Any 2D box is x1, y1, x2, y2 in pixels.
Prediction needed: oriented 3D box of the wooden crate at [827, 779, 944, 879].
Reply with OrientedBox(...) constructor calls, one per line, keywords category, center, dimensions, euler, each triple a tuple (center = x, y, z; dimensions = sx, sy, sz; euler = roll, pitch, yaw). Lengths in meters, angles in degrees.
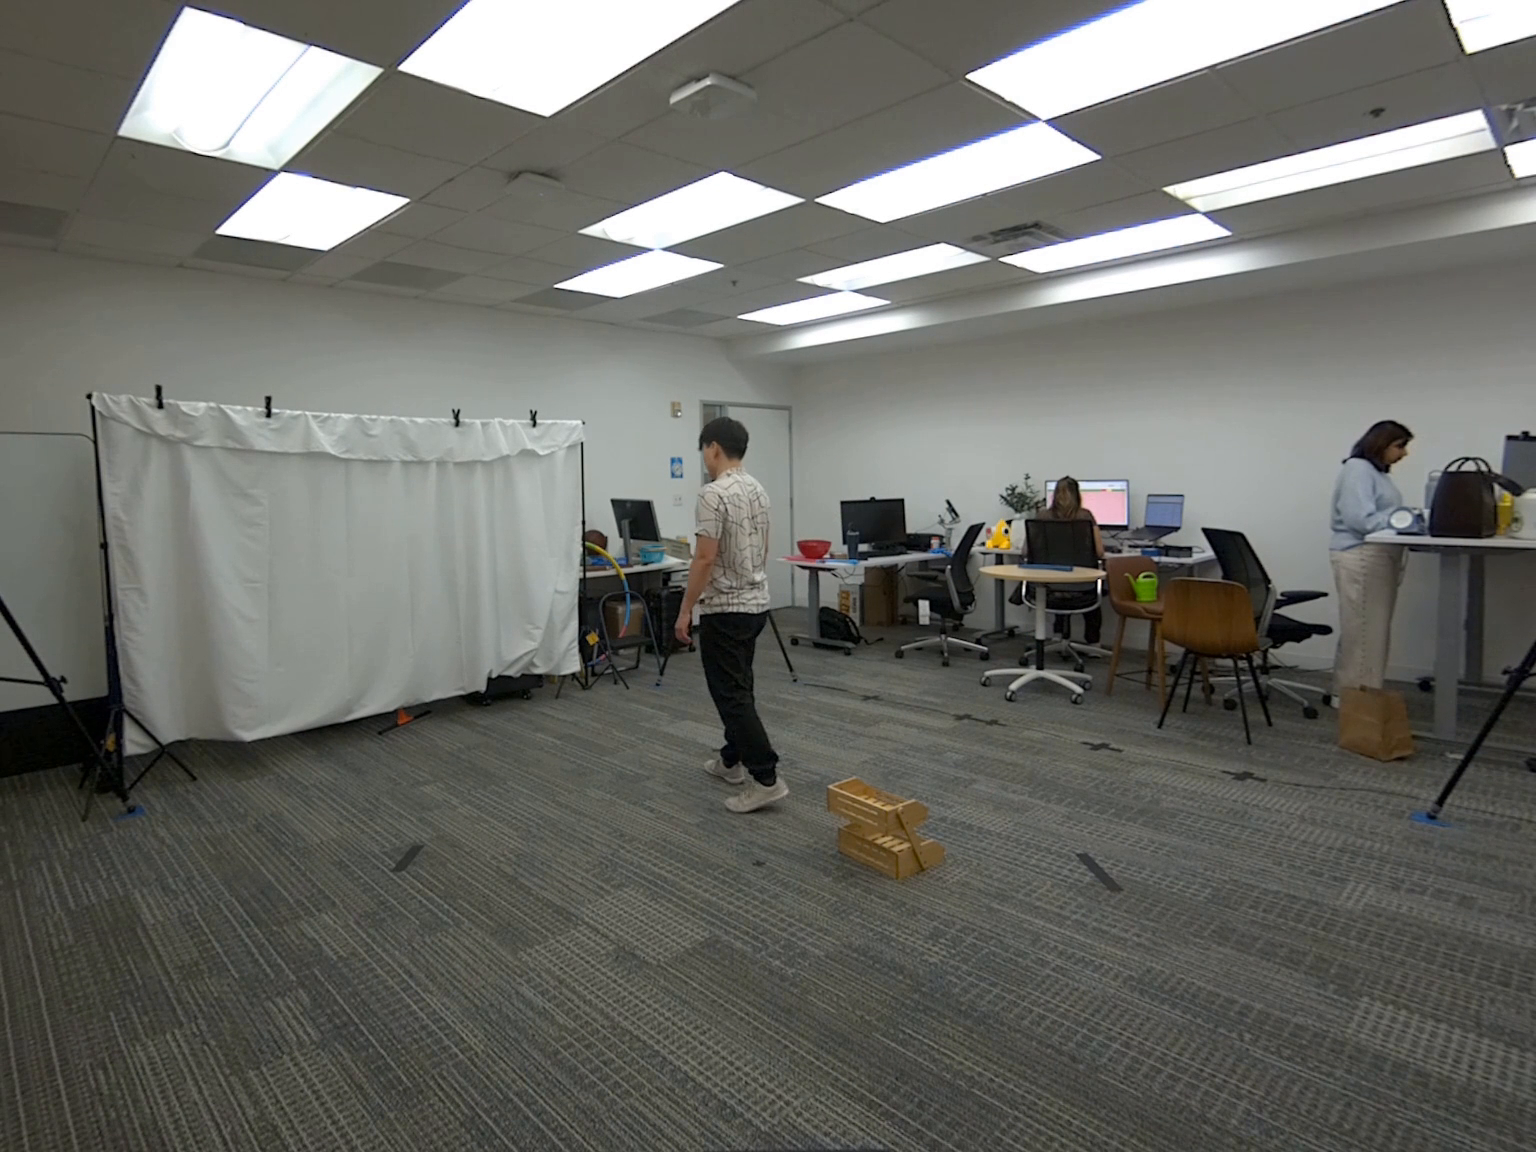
OrientedBox(category="wooden crate", center=(0.438, 0.903, 3.133), dimensions=(0.294, 0.272, 0.334), euler=(-6, 7, -37))
